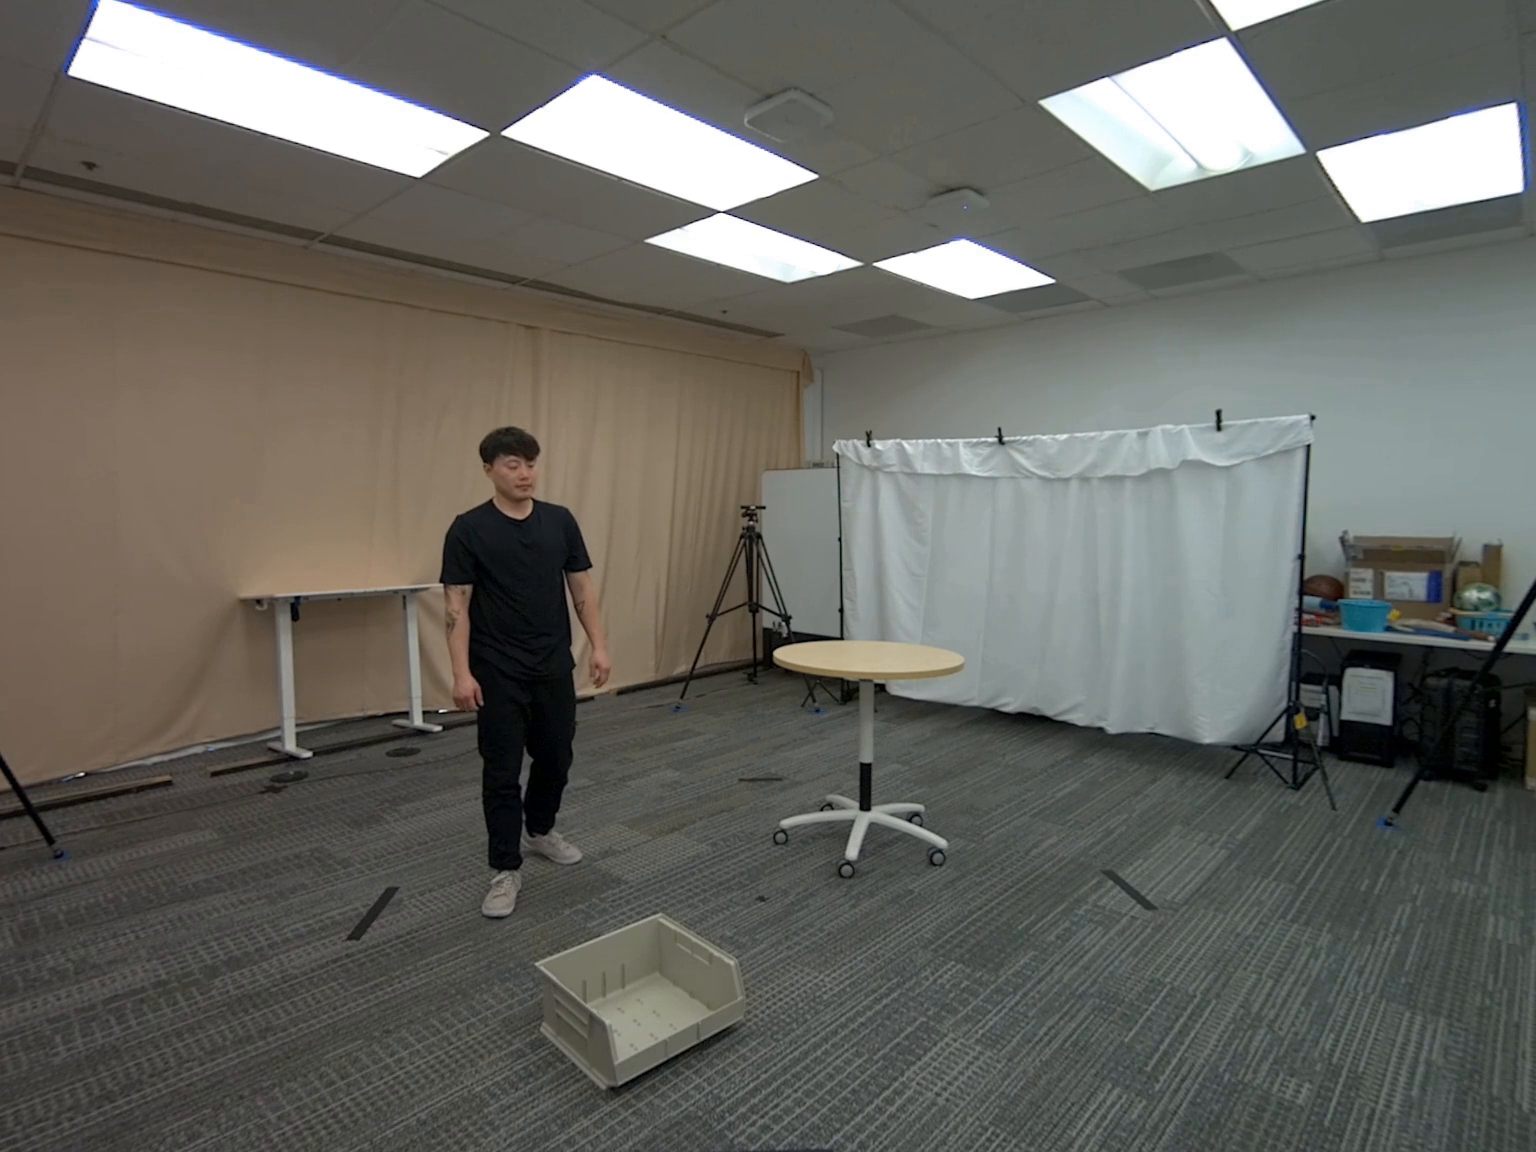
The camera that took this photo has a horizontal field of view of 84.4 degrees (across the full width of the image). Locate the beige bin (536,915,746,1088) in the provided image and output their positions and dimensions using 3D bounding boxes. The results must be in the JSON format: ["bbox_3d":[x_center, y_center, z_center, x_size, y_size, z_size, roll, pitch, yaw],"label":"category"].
[{"bbox_3d":[-0.337,1.119,2.234,0.409,0.188,0.390,-4,5,-42],"label":"beige bin"}]
